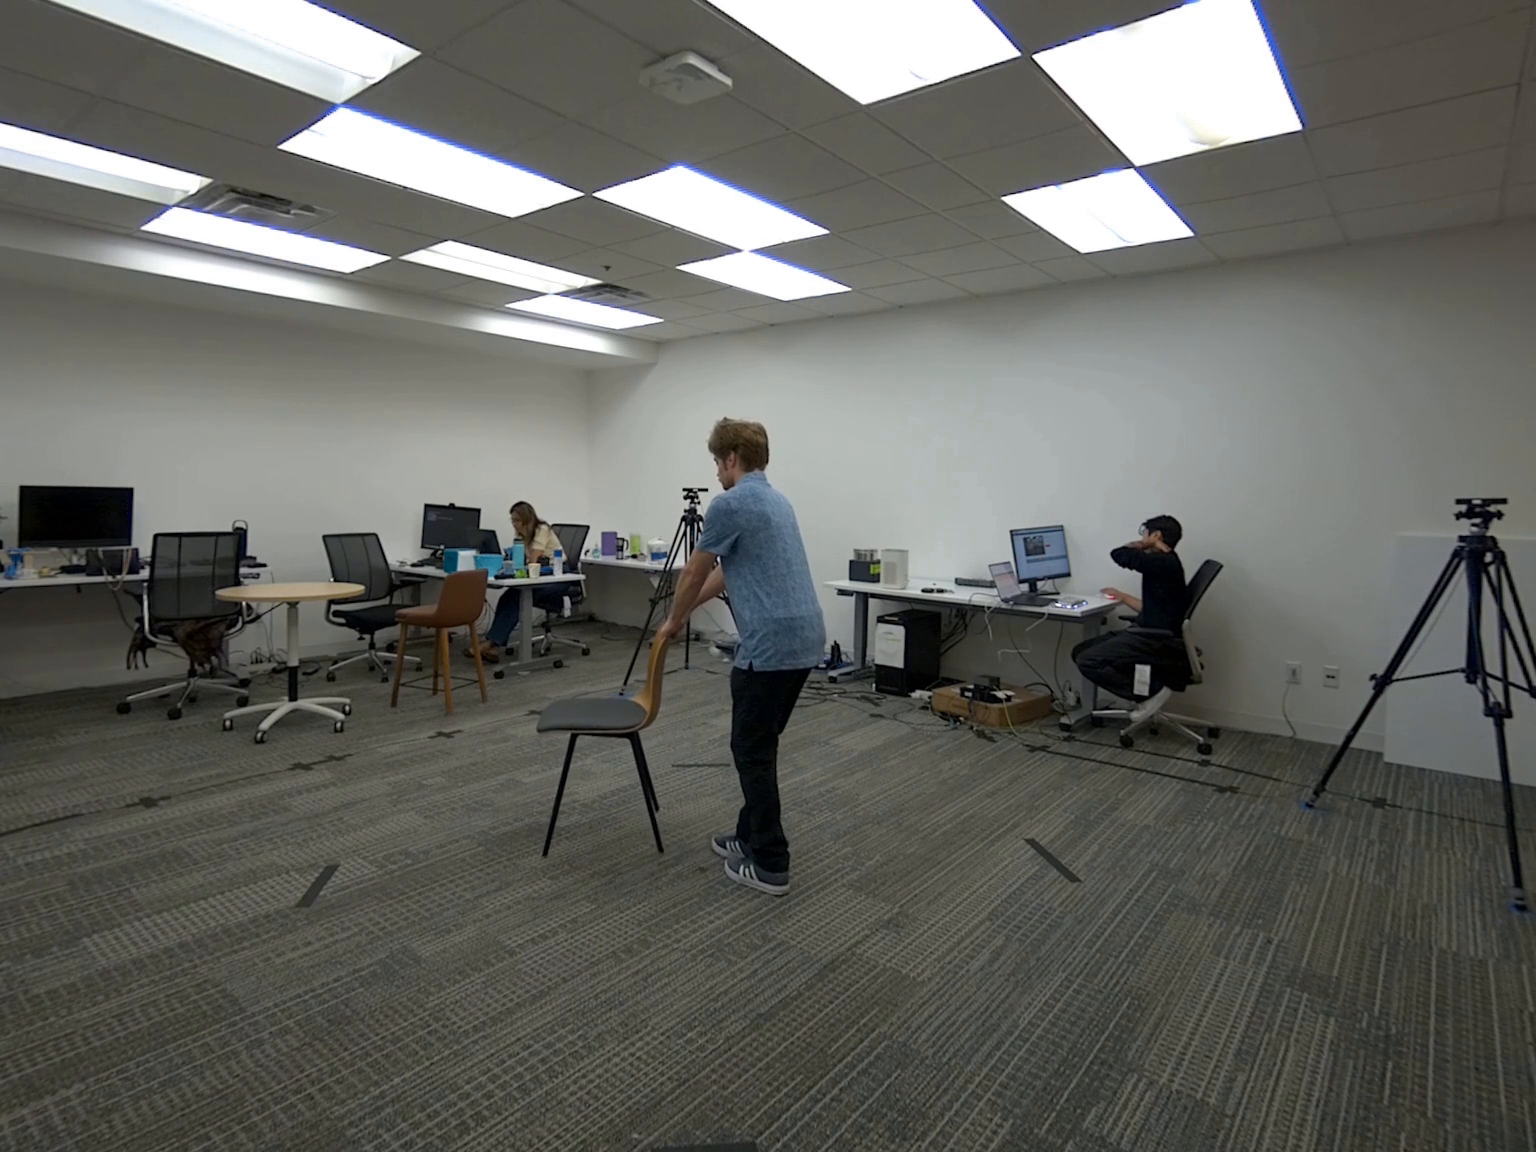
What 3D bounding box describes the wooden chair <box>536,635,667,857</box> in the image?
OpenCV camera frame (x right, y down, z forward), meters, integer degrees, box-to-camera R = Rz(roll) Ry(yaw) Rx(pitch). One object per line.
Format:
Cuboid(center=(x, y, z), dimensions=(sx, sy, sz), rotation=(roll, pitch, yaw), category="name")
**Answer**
Cuboid(center=(-0.672, 0.606, 3.406), dimensions=(0.518, 0.875, 0.484), rotation=(5, 3, -9), category="wooden chair")
